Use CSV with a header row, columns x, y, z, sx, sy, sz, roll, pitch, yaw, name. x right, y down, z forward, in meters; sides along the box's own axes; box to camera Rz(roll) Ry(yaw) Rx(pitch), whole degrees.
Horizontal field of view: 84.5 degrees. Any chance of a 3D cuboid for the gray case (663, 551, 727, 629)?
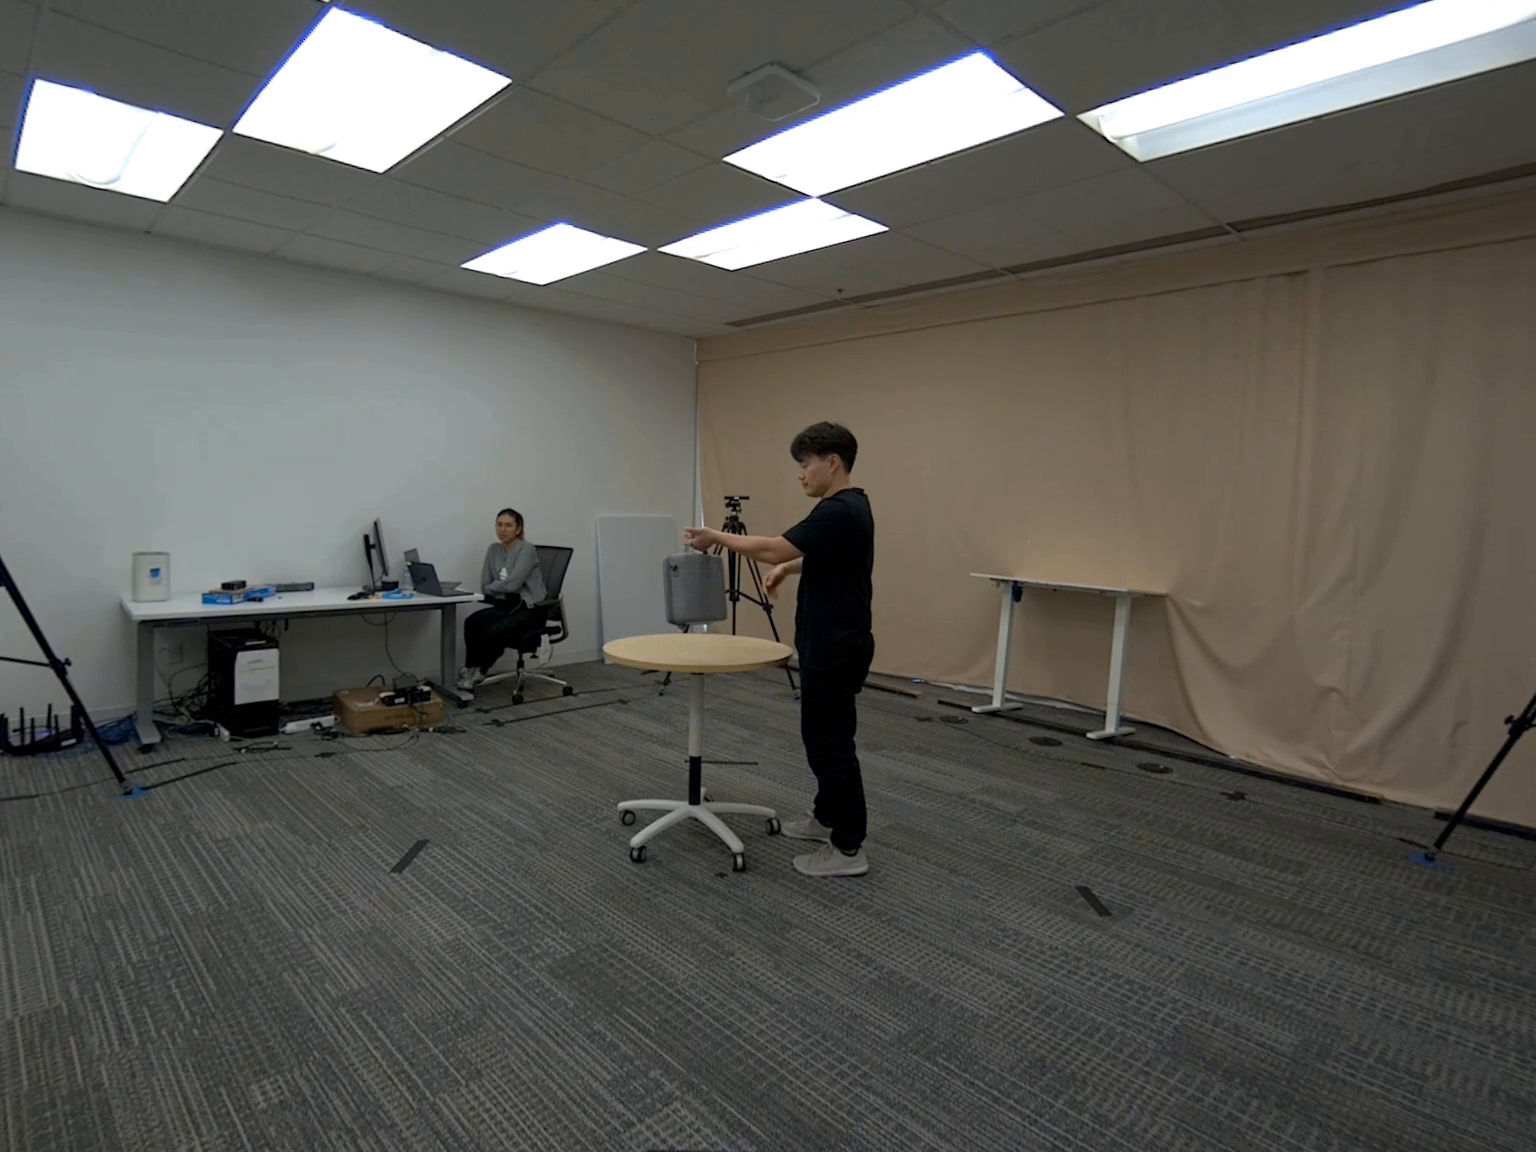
x,y,z,sx,sy,sz,roll,pitch,yaw,name
-0.262,0.044,3.046,0.106,0.261,0.251,-6,-5,37,gray case
